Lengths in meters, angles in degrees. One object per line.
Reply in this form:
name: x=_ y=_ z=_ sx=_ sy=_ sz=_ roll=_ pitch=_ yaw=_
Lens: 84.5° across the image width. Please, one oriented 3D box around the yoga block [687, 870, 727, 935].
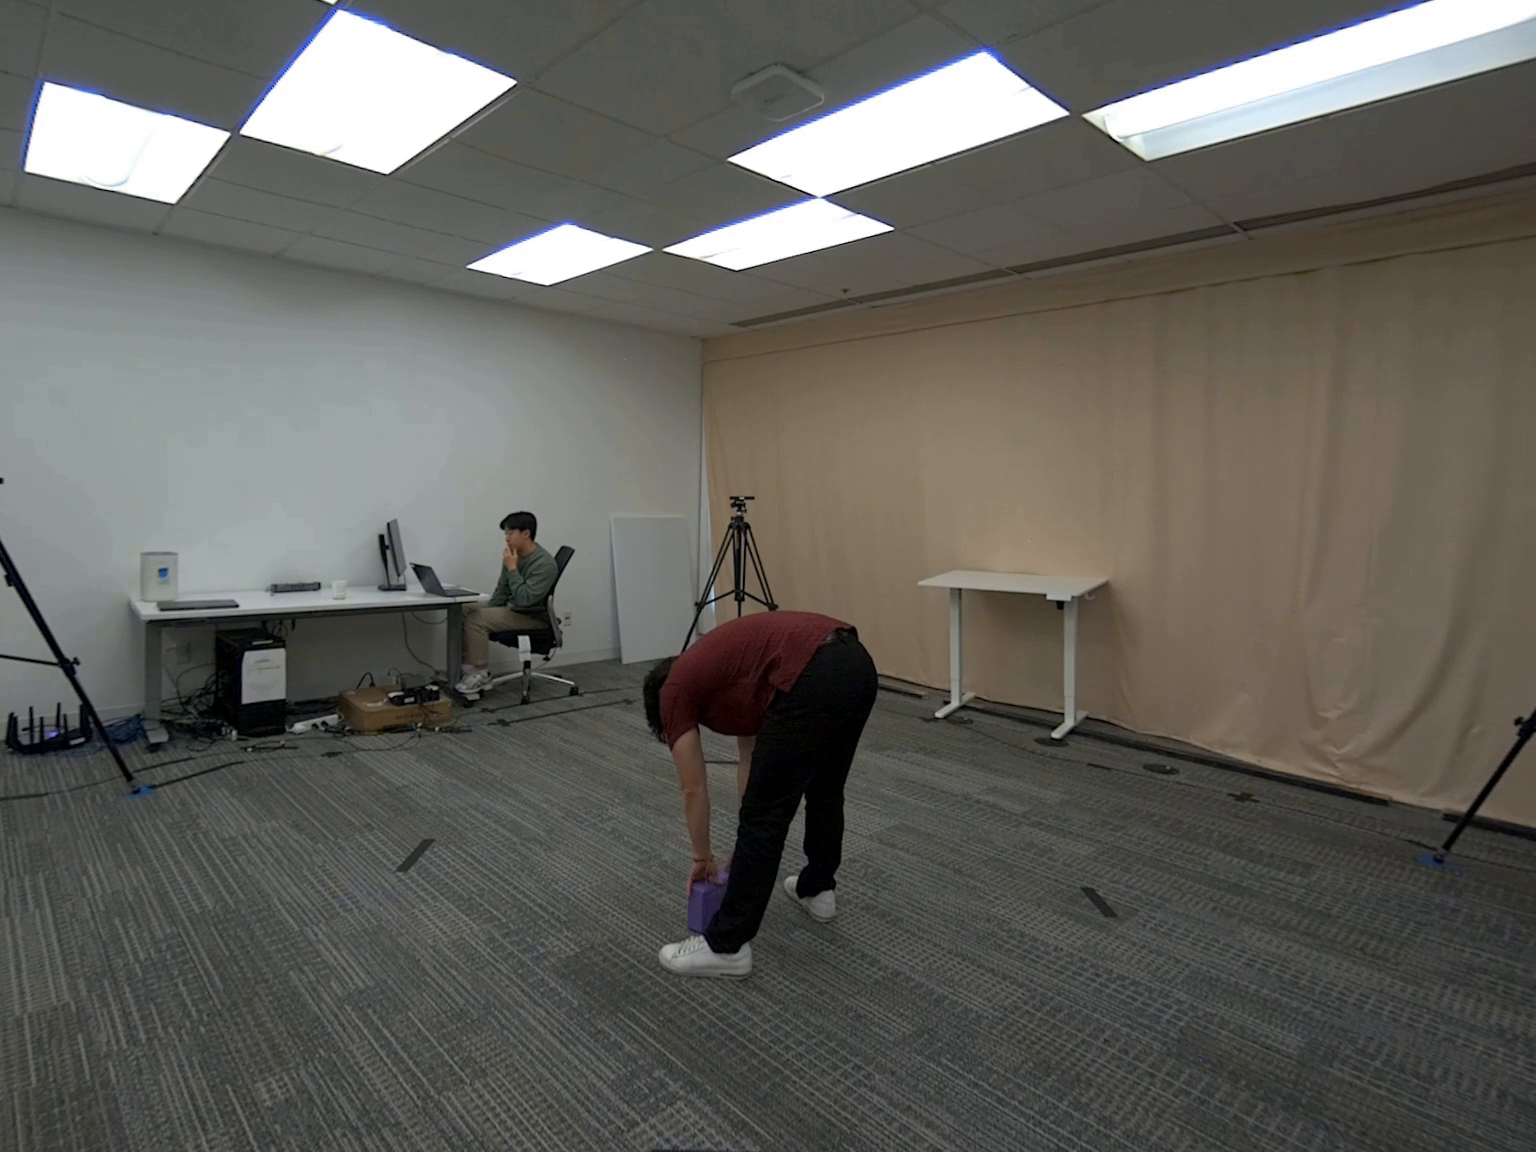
yoga block: x=-0.164 y=1.064 z=2.768 sx=0.078 sy=0.148 sz=0.224 roll=7 pitch=5 yaw=37
